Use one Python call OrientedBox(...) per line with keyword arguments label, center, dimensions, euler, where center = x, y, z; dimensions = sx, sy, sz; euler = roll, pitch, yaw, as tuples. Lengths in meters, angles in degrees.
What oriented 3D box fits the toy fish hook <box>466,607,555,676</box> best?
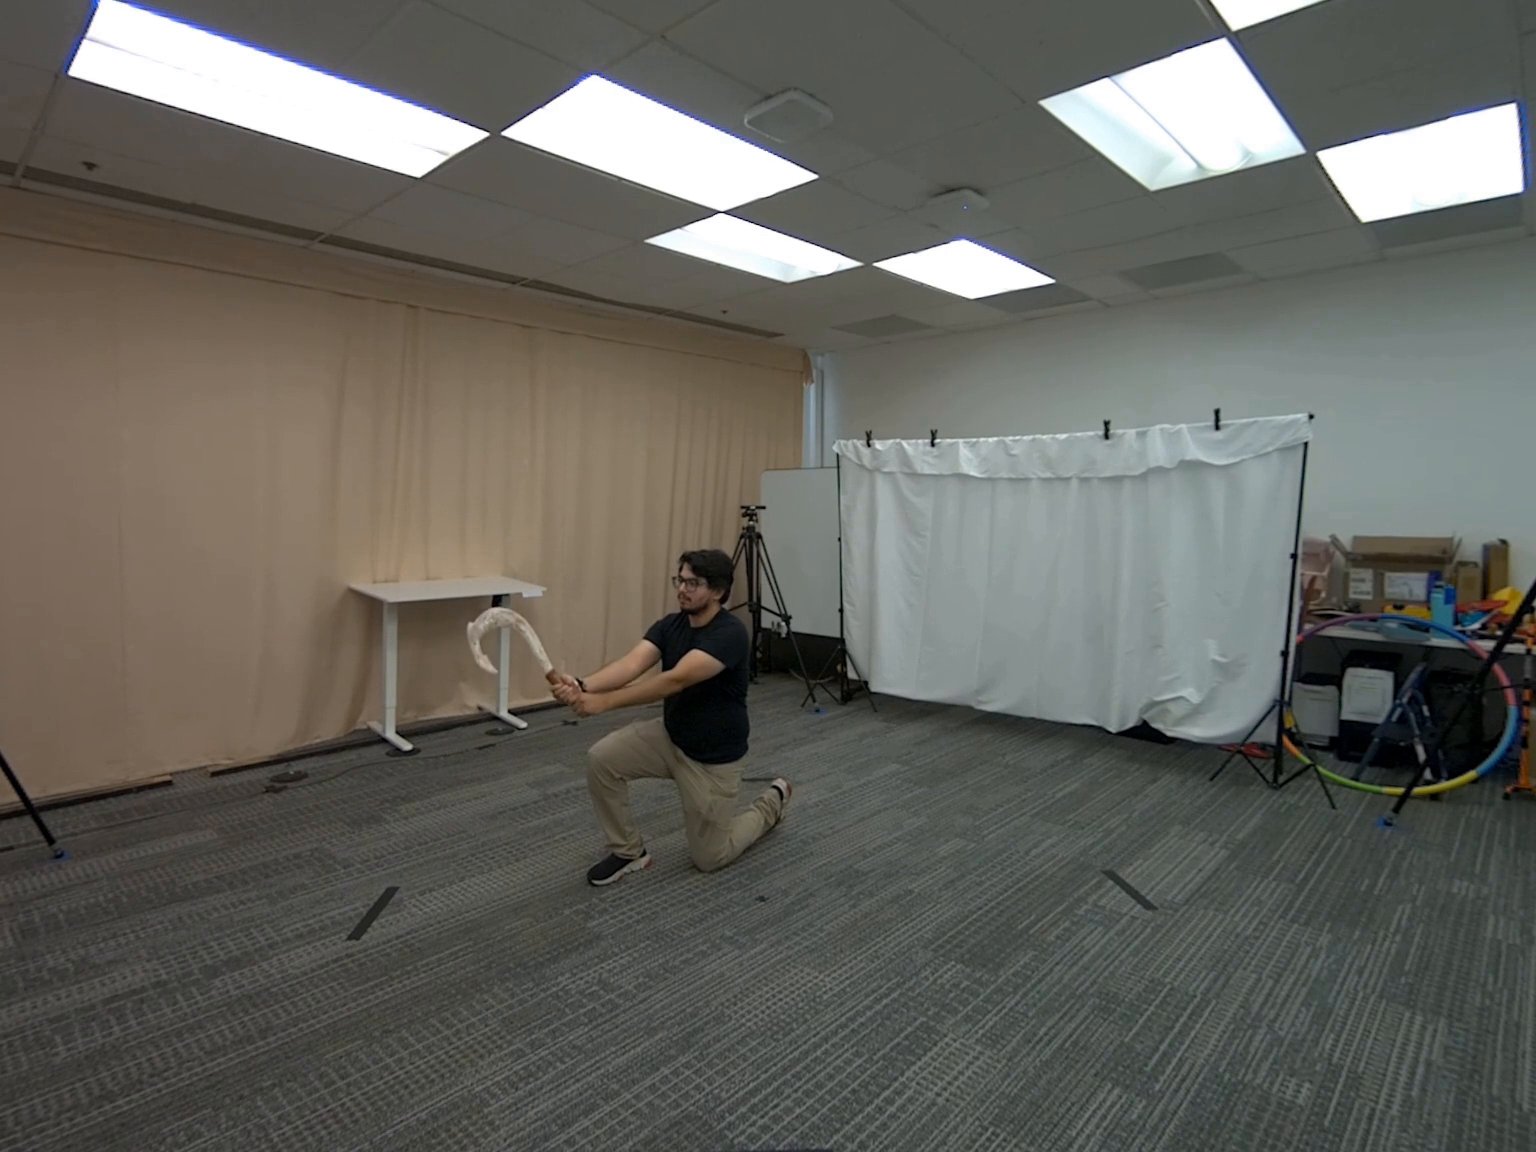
OrientedBox(label="toy fish hook", center=(-0.799, 0.319, 2.830), dimensions=(0.222, 0.511, 0.048), euler=(-43, -8, -31))
